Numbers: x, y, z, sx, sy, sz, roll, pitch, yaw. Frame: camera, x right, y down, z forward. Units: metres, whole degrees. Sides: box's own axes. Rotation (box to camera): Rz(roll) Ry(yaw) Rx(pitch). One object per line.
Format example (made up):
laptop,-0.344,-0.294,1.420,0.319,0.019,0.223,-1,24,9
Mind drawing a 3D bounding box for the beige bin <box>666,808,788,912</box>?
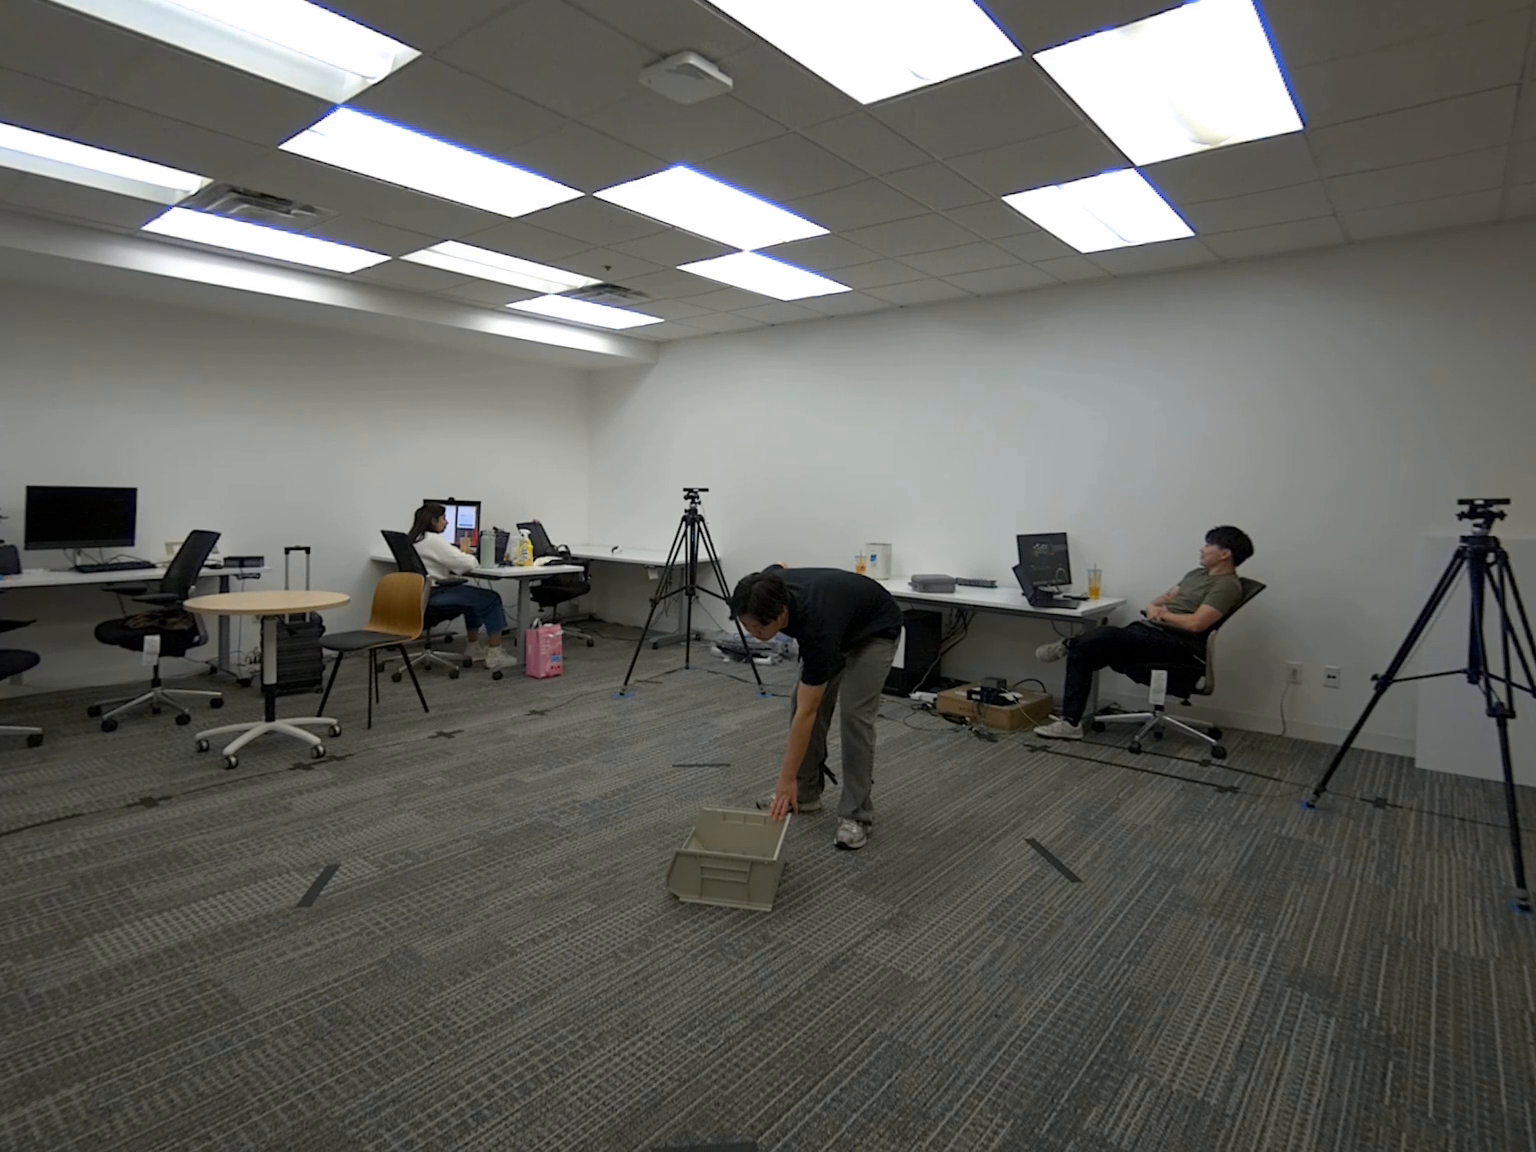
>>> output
beige bin,-0.141,0.991,3.027,0.382,0.188,0.419,3,4,9
